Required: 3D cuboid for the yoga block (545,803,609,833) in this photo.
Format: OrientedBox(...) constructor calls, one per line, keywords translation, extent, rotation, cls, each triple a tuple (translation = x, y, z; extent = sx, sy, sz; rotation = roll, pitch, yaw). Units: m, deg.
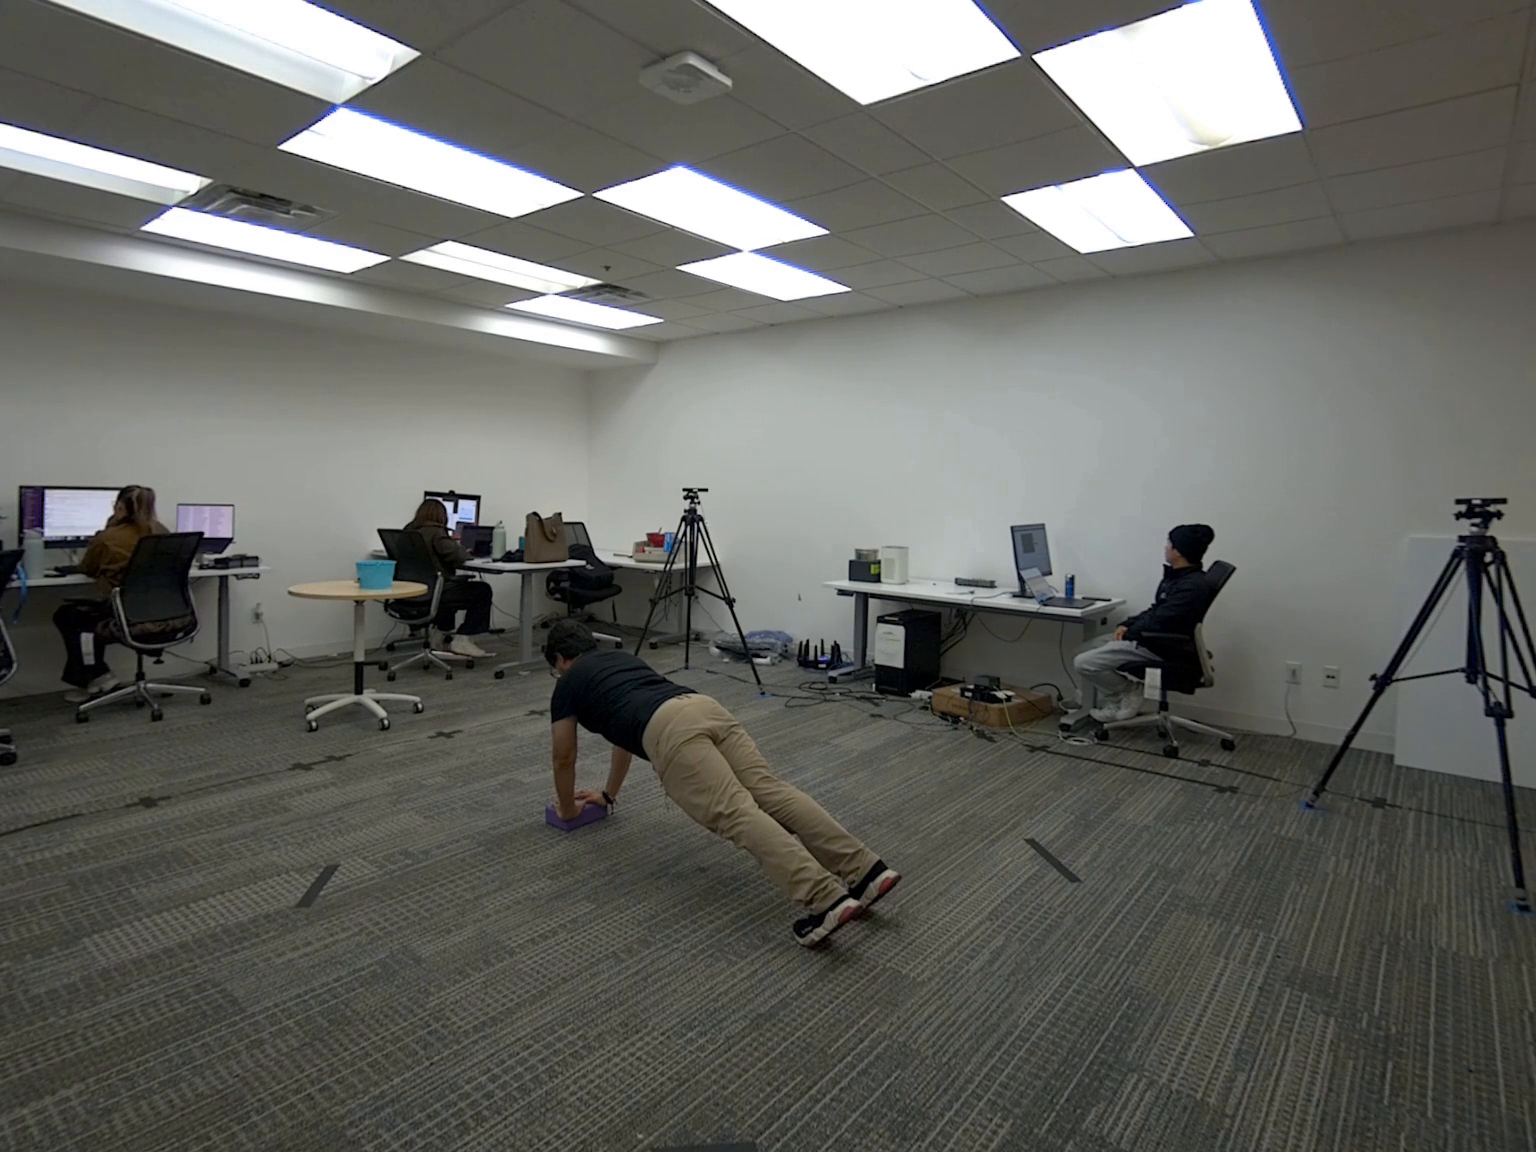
OrientedBox(translation=(-0.813, 0.980, 3.561), extent=(0.154, 0.076, 0.223), rotation=(2, 6, 37), cls="yoga block")
